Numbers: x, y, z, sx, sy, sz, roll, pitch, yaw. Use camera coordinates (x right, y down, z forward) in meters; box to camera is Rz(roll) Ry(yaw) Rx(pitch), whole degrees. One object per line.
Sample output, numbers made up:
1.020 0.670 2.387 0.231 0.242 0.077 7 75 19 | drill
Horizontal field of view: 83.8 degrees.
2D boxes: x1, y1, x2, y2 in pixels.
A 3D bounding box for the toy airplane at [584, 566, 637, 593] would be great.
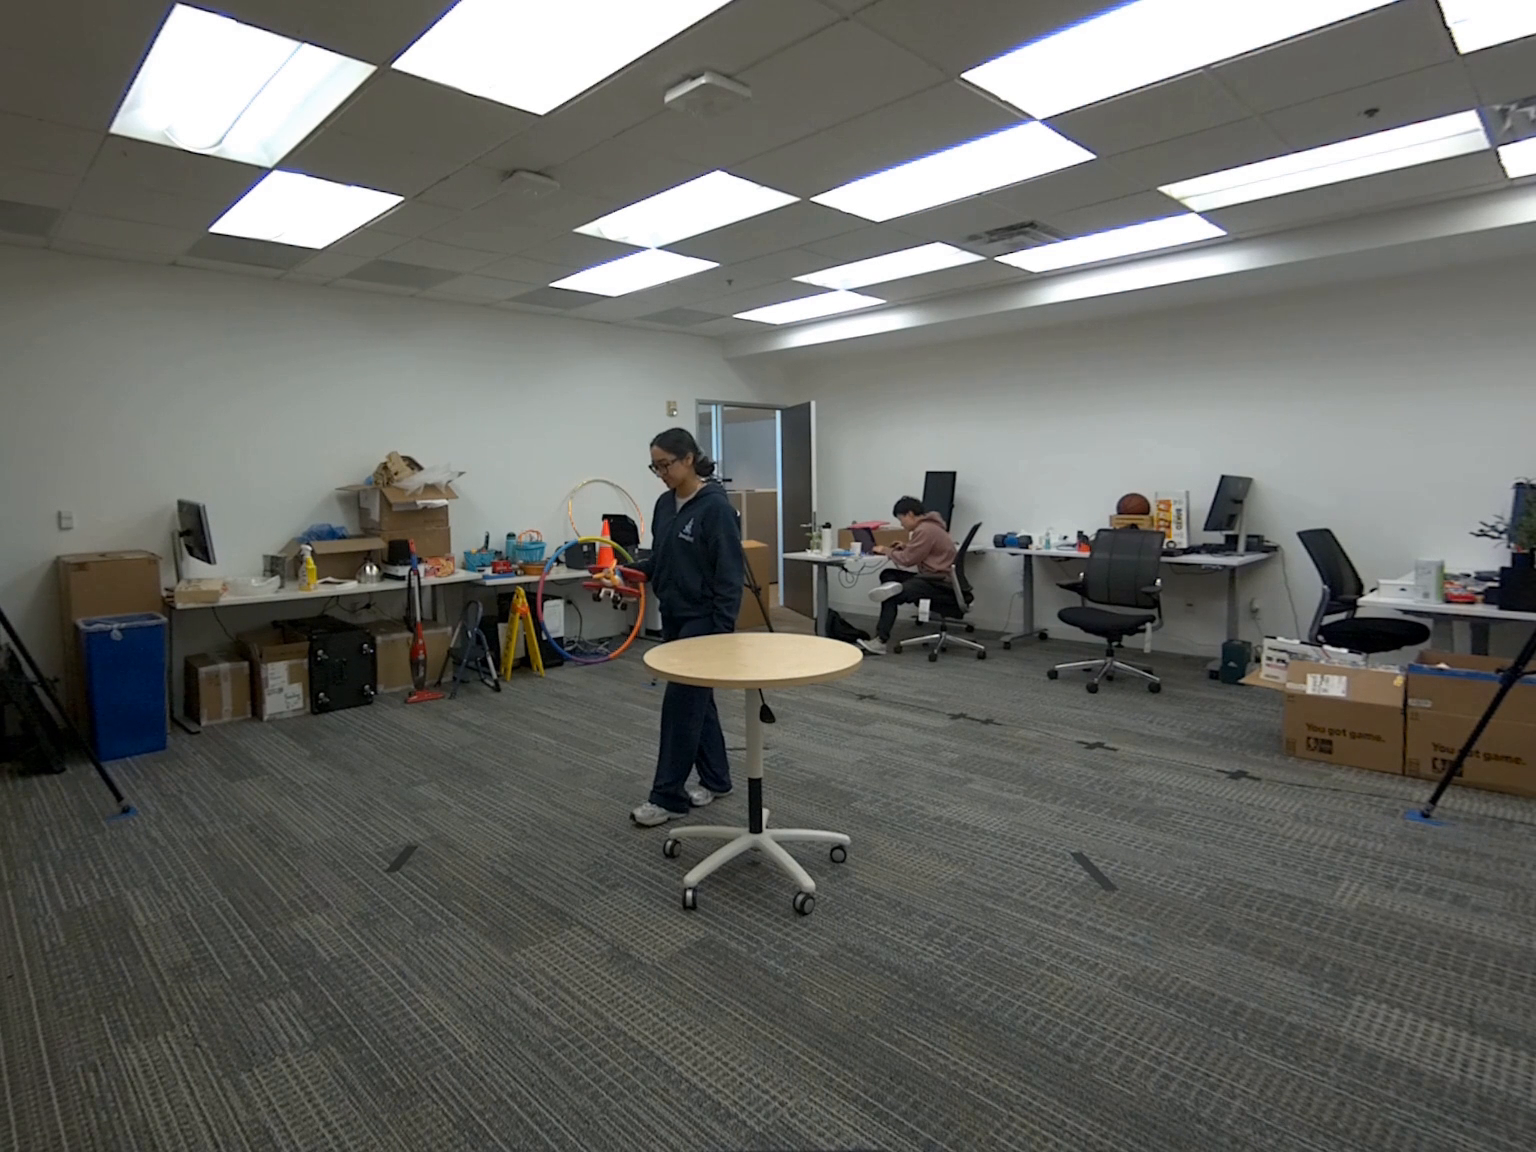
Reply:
-0.649 0.050 3.569 0.247 0.157 0.262 13 -9 -16 | toy airplane
